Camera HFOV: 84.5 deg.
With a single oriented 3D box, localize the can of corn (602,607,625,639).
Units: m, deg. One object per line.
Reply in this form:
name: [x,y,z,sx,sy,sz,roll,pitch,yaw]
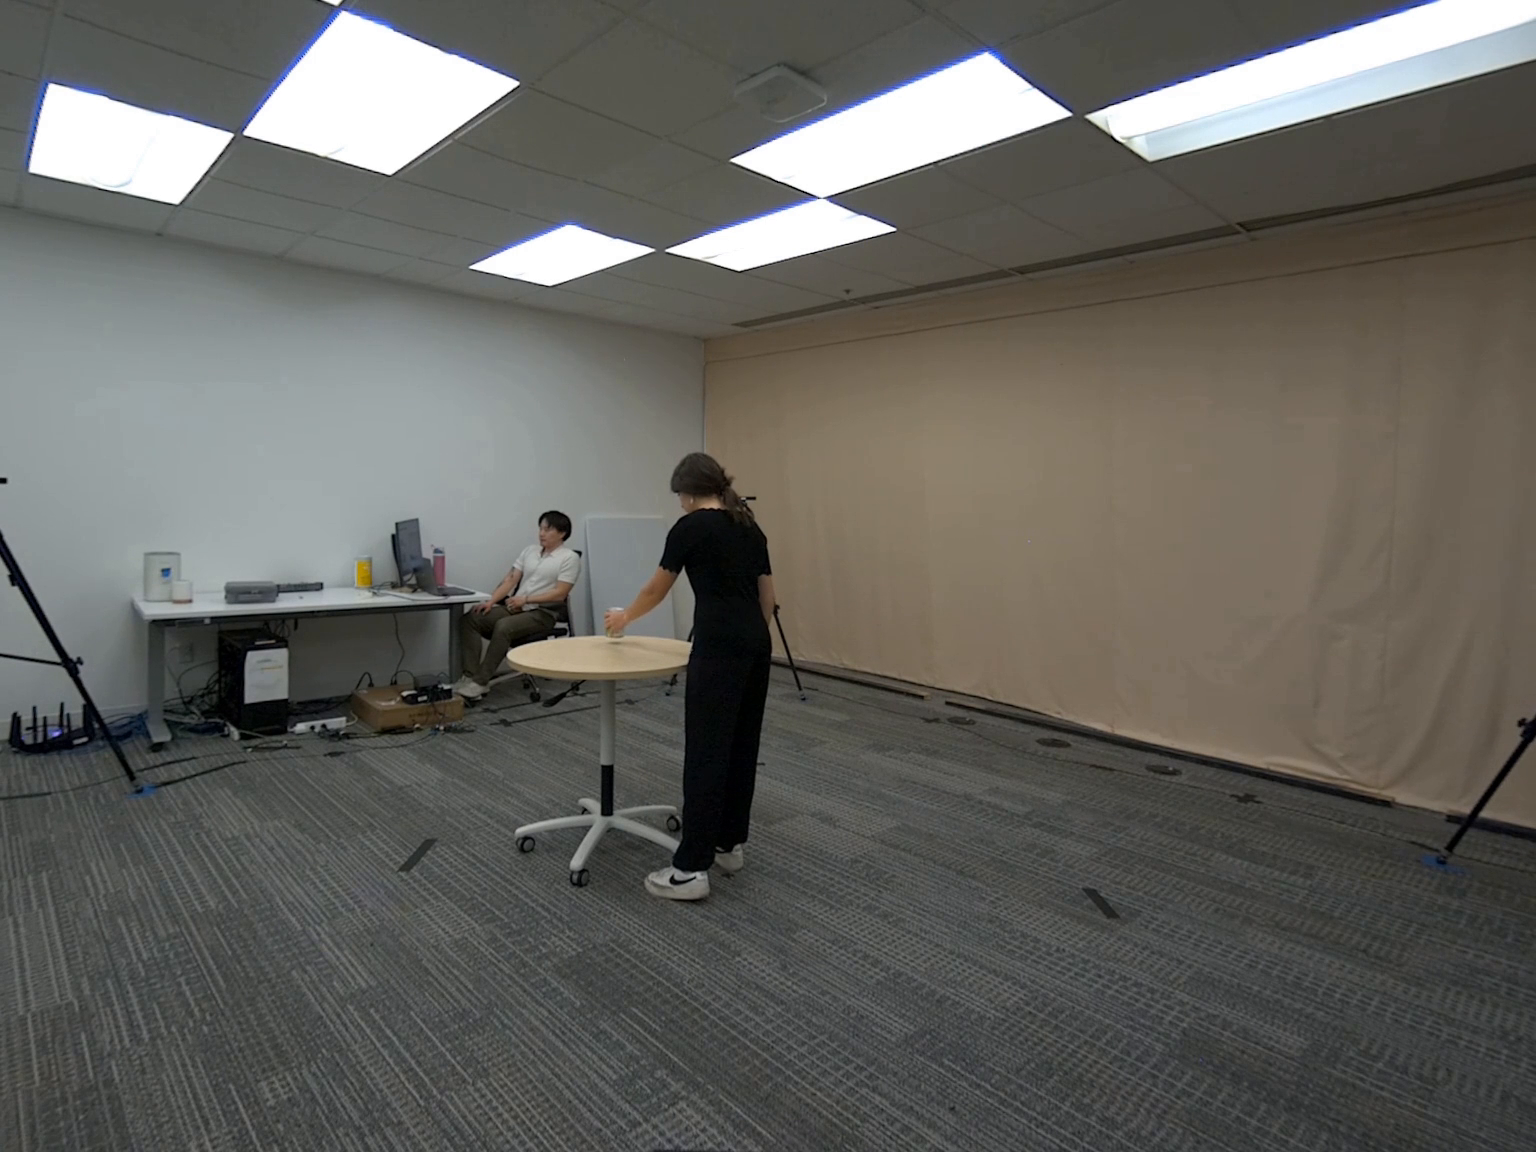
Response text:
can of corn: [-0.631,0.193,3.459,0.074,0.111,0.074,3,4,-2]
